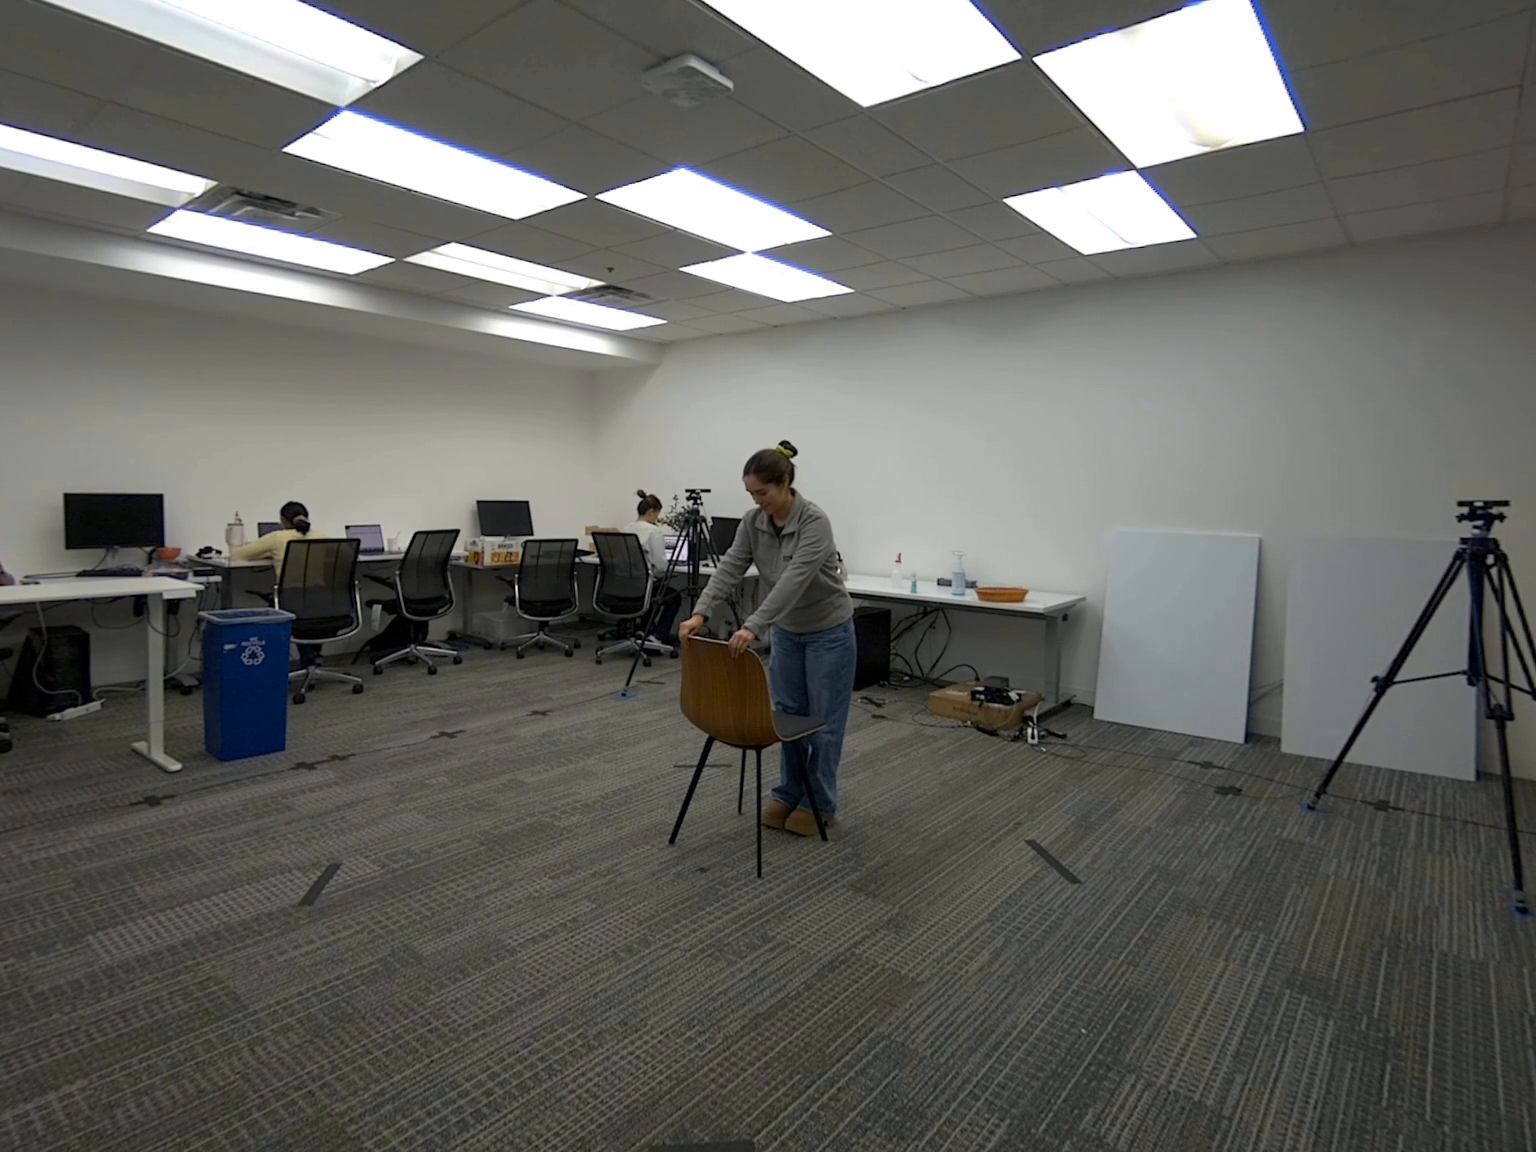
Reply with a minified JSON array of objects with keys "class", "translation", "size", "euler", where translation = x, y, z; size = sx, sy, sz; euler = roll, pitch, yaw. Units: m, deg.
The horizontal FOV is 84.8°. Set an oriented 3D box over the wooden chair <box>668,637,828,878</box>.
[{"class":"wooden chair","translation":[-0.076,0.628,3.344],"size":[0.494,0.872,0.509],"euler":[4,8,38]}]
